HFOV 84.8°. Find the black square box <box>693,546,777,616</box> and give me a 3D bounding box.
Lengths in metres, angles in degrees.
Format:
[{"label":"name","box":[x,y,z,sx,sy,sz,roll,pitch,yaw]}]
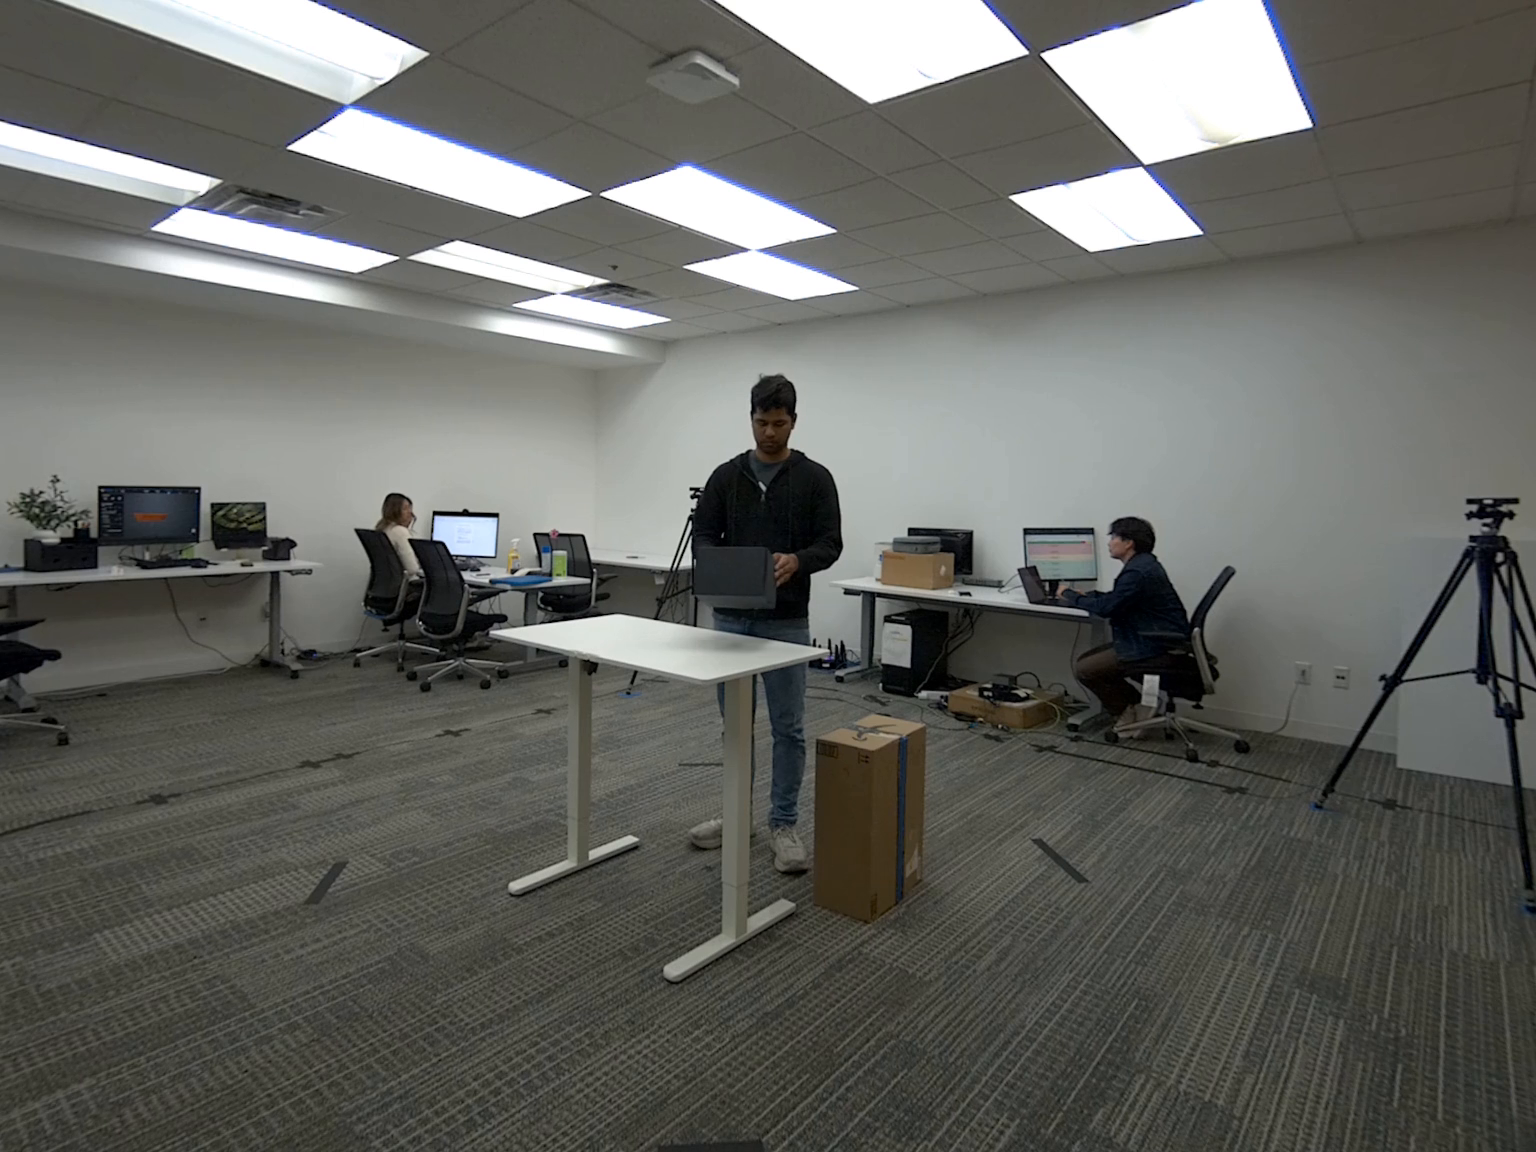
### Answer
[{"label":"black square box","box":[-0.102,0.010,2.765,0.231,0.157,0.212,1,-10,12]}]
